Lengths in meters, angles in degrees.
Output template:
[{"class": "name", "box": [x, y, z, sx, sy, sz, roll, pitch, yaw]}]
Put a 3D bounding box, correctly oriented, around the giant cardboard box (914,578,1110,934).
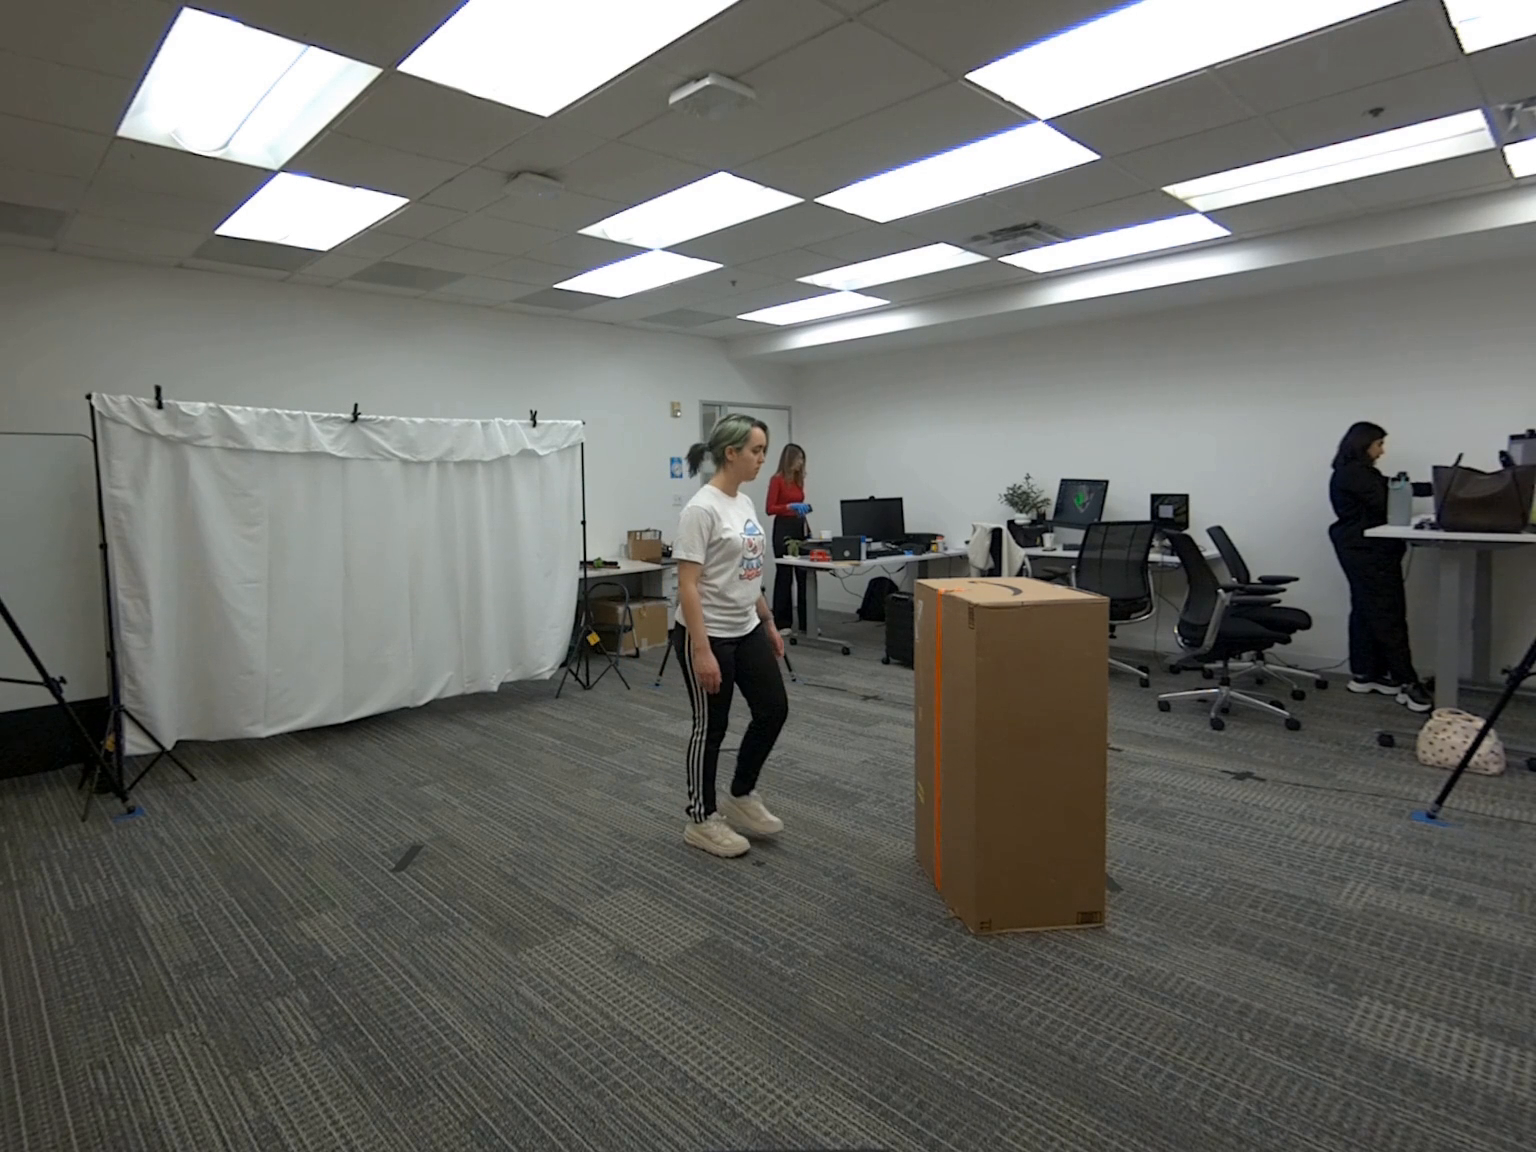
[{"class": "giant cardboard box", "box": [0.785, 0.553, 2.857, 0.444, 1.023, 0.590, -1, 4, -8]}]
